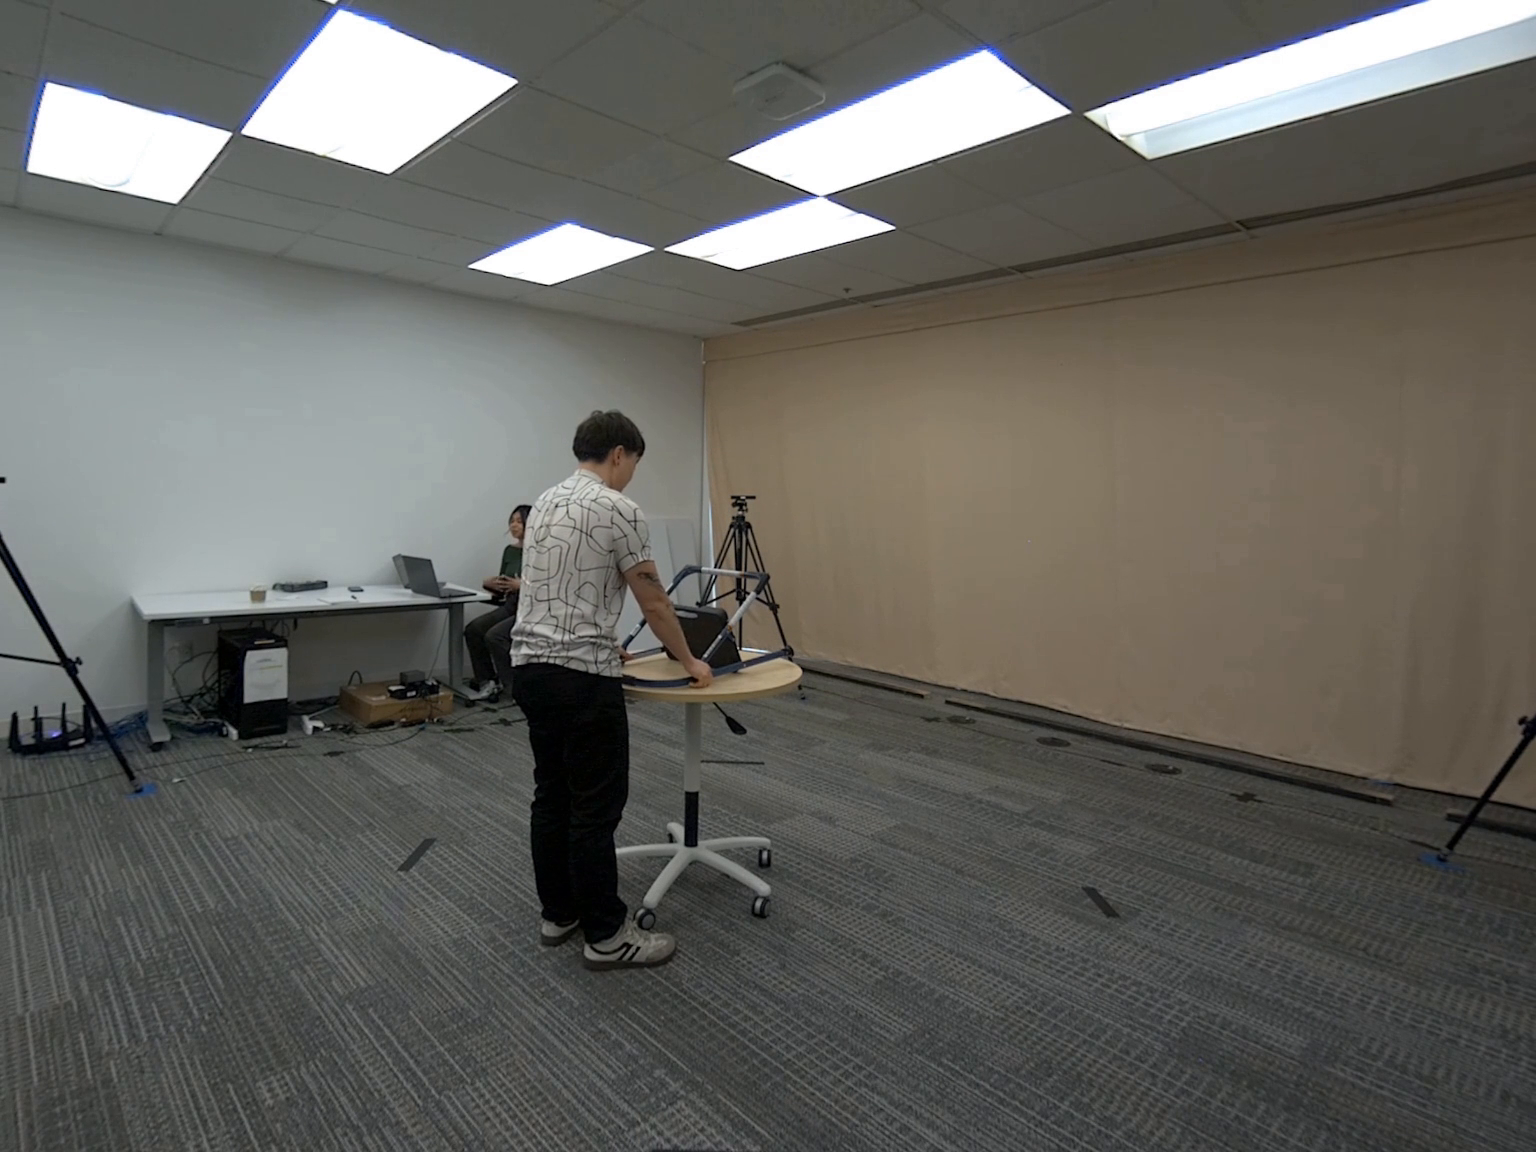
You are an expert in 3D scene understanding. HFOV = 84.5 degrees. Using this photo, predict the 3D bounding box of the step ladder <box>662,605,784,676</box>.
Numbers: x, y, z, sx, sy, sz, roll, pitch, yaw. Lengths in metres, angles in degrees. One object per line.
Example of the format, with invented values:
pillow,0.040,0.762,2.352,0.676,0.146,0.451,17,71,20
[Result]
step ladder,-0.286,0.264,2.950,0.441,0.342,0.602,4,30,40
